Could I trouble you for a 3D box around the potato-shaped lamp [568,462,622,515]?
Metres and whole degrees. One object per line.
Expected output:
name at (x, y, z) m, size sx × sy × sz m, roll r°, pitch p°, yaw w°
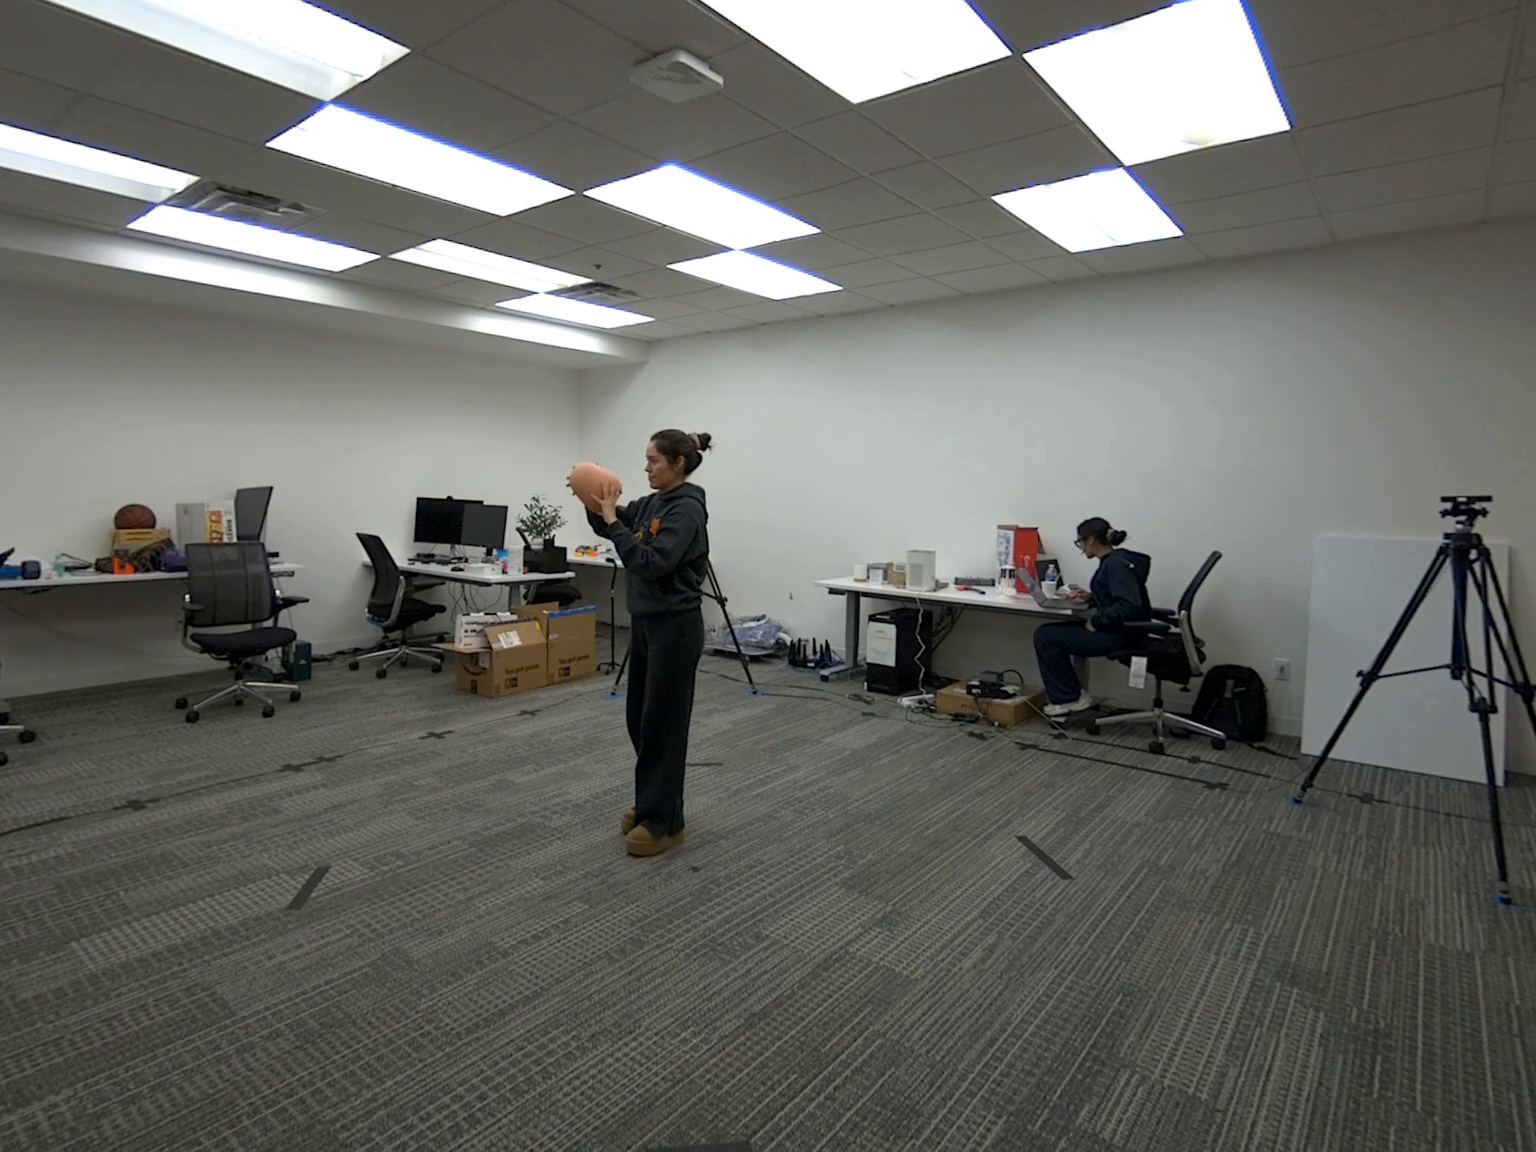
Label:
potato-shaped lamp at (-0.685, -0.353, 3.308) m, size 0.201 × 0.164 × 0.169 m, roll 38°, pitch 1°, yaw 9°
